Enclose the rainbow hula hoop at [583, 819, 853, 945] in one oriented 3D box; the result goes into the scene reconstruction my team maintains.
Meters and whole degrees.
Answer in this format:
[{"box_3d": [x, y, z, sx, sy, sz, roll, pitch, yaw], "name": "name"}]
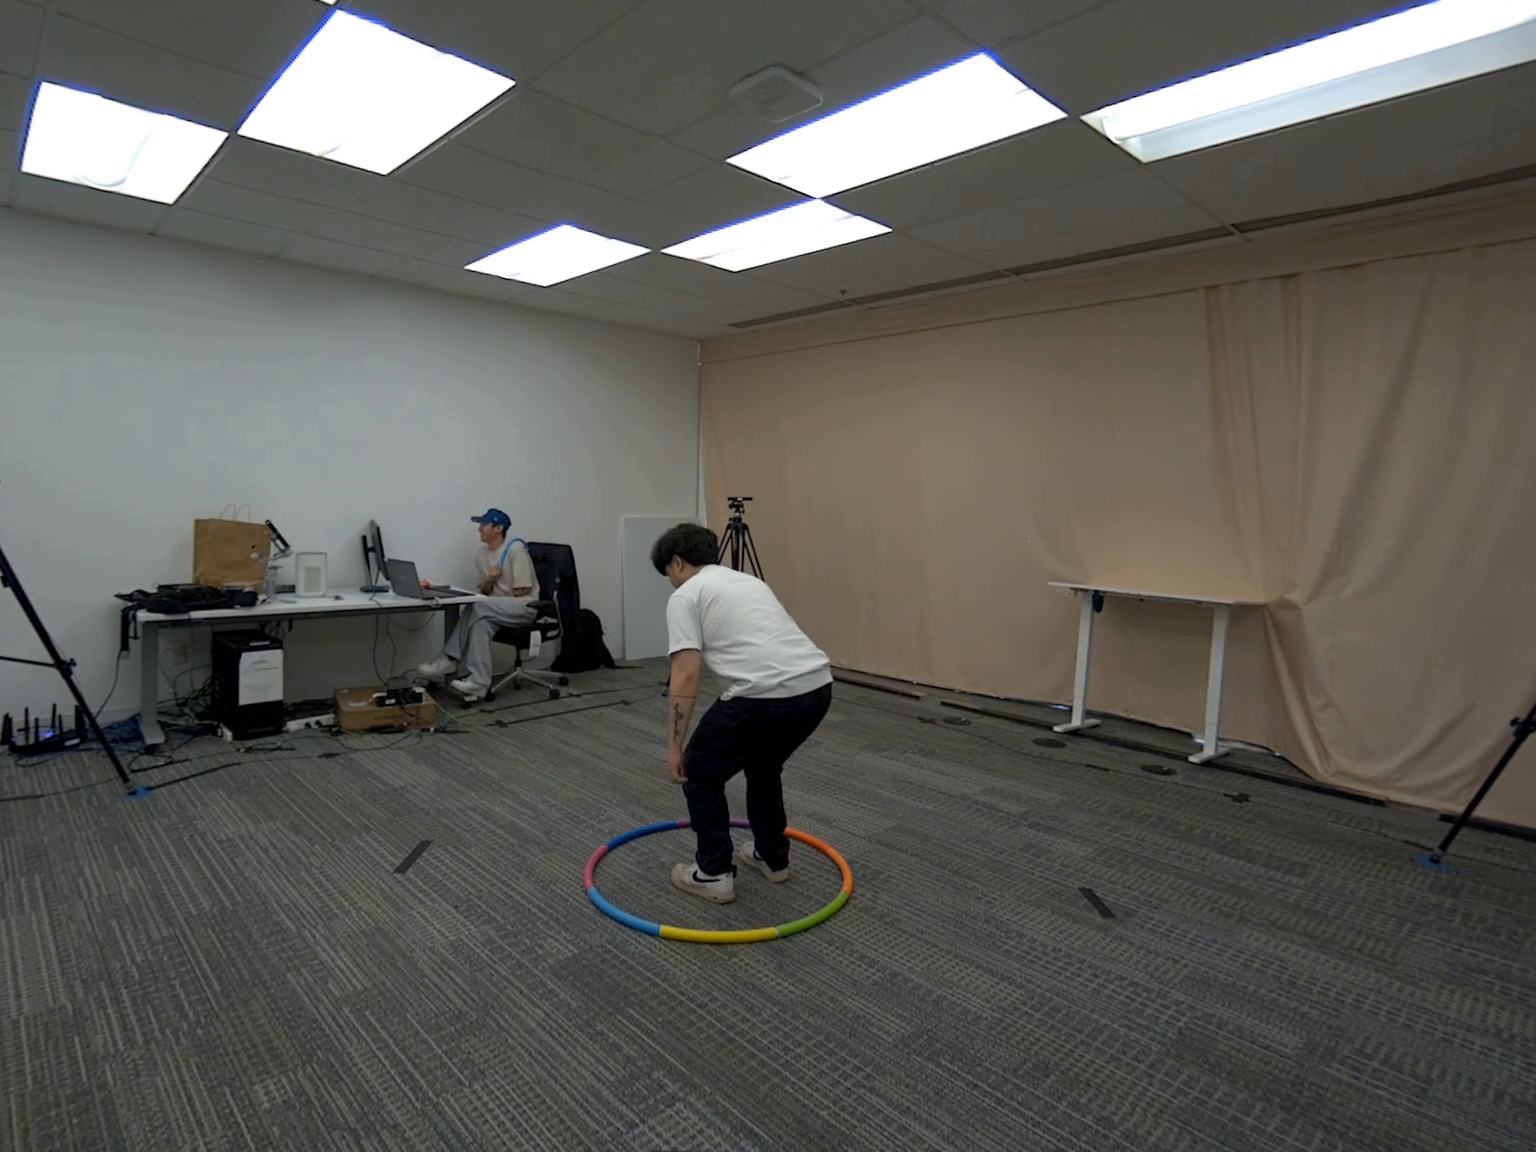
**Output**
[{"box_3d": [-0.191, 1.082, 3.109, 0.985, 0.051, 0.989, 1, 5, -1], "name": "rainbow hula hoop"}]
